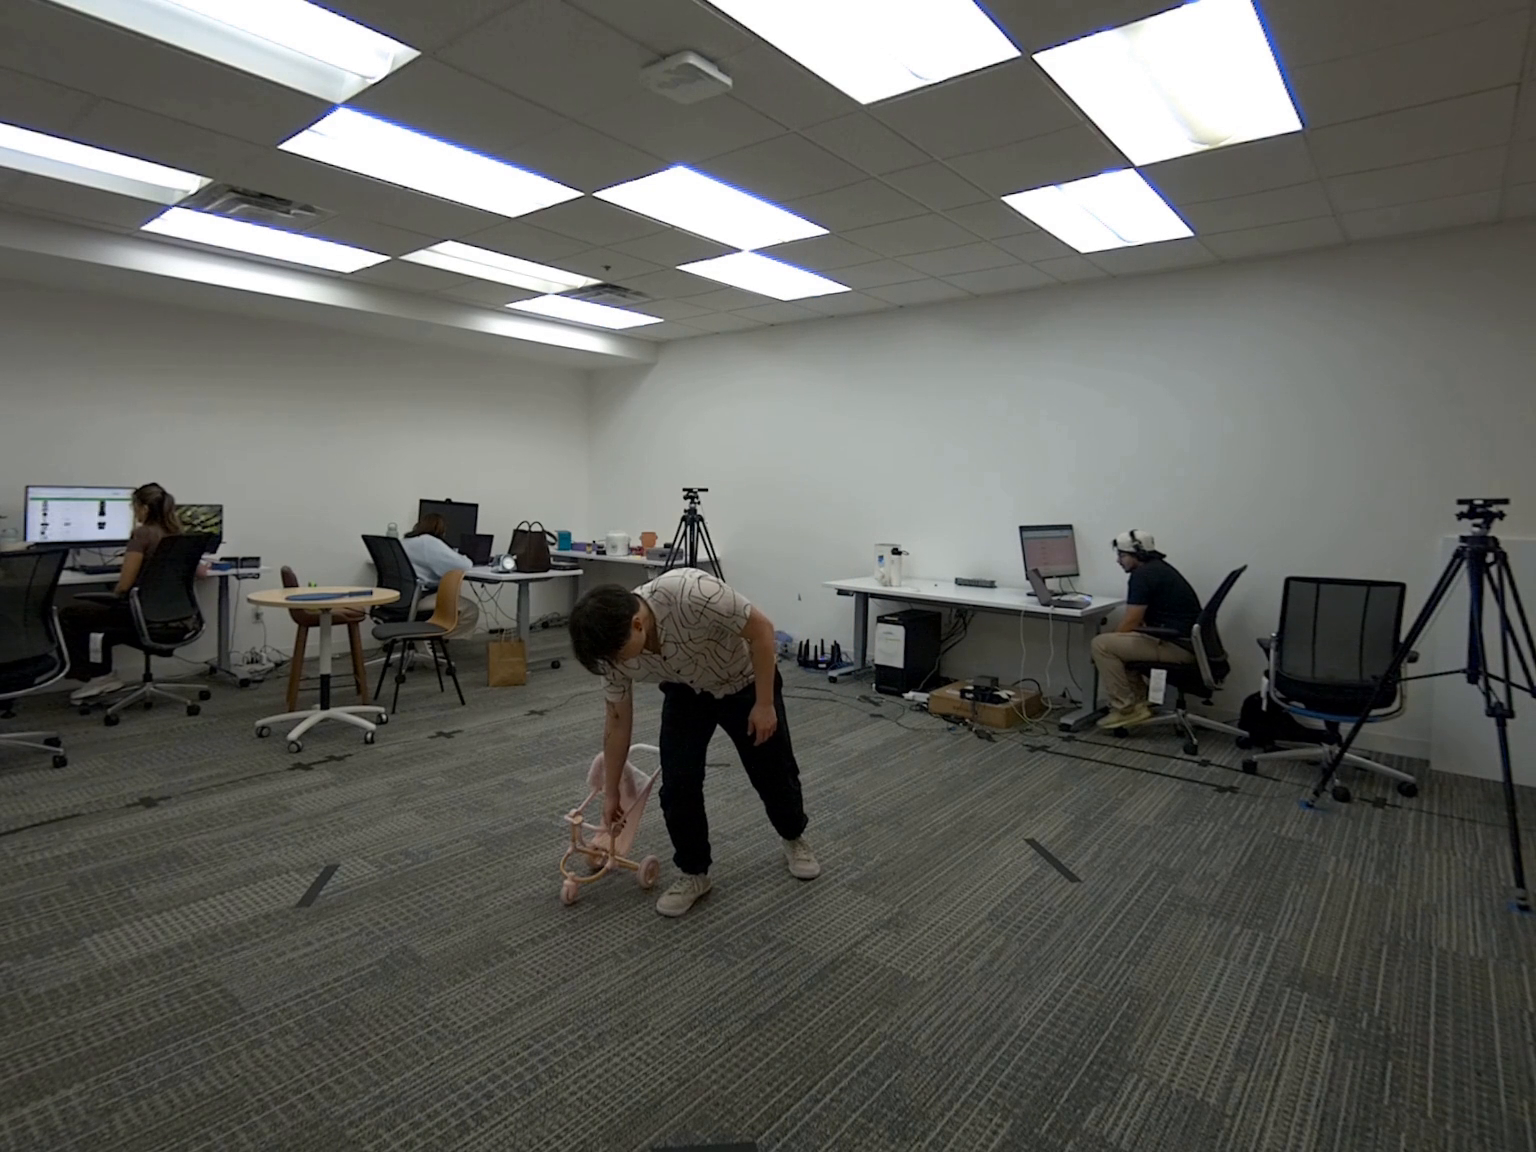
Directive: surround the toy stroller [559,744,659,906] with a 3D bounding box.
[{"bbox_3d":[-0.568,0.855,2.975,0.291,0.539,0.328,3,-11,39],"label":"toy stroller"}]
